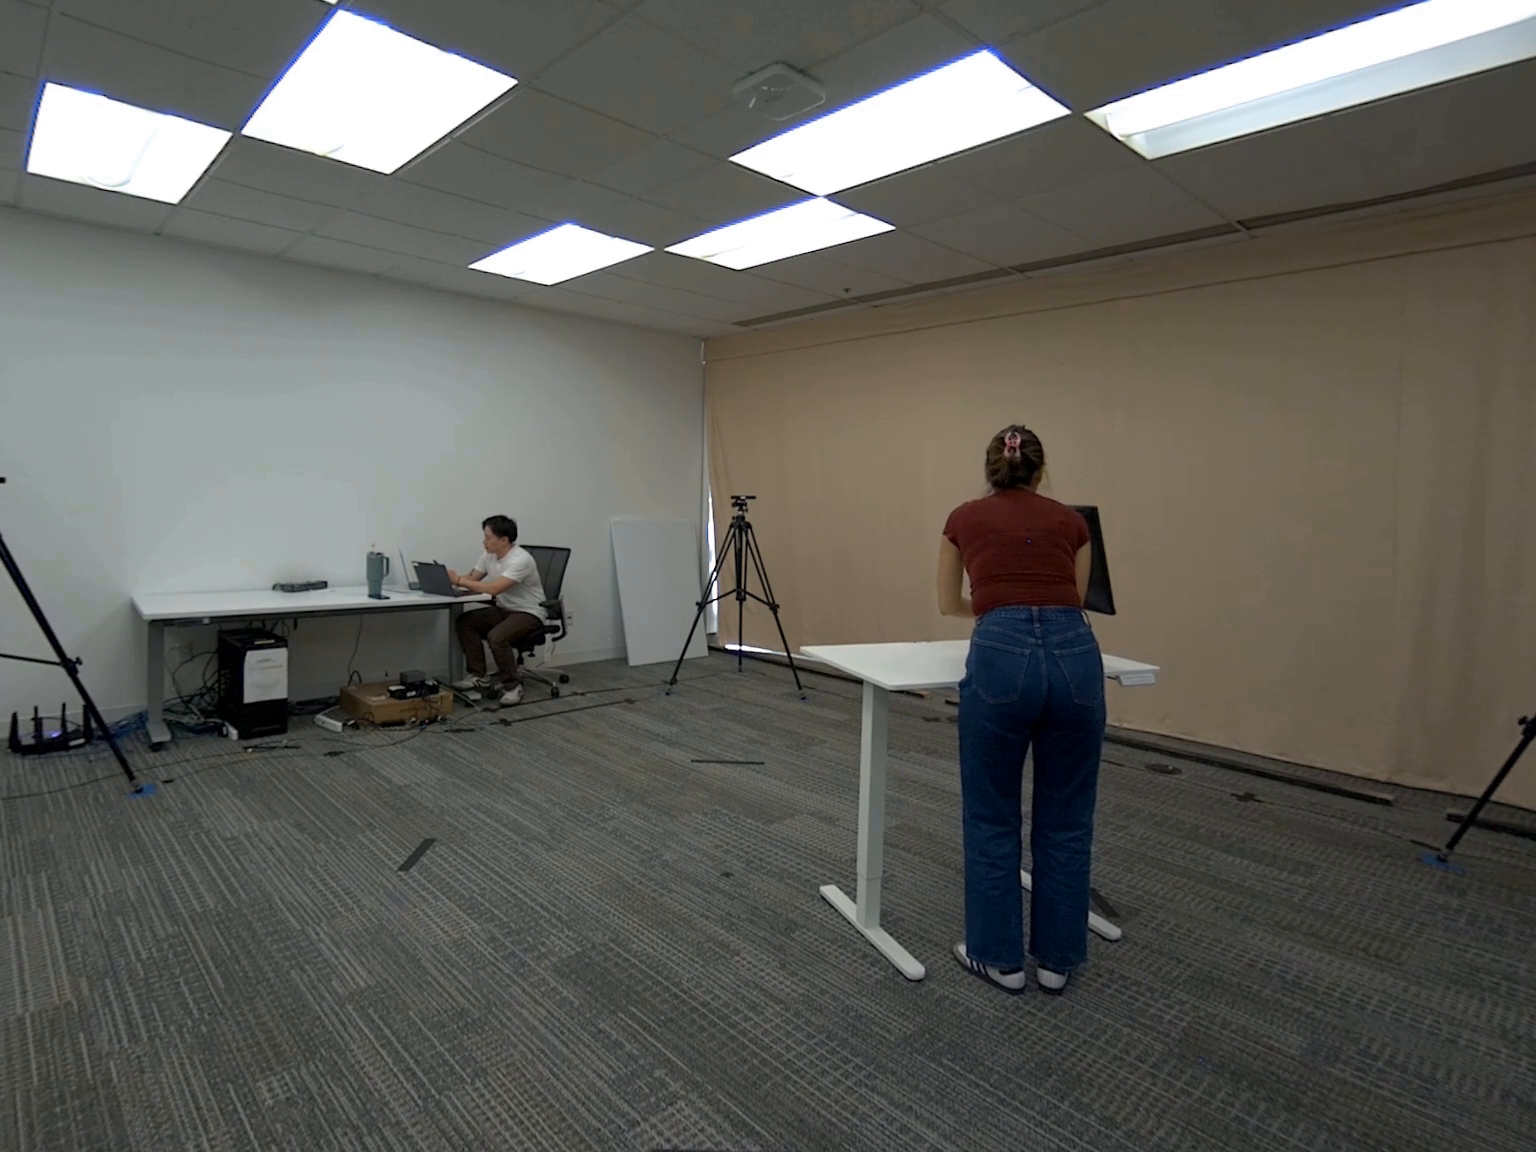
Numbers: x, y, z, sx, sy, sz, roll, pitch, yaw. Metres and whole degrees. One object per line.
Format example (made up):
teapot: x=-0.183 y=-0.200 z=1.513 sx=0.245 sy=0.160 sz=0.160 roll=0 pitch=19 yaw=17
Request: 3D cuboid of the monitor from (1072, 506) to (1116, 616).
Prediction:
monitor: x=0.920 y=0.021 z=2.851 sx=0.184 sy=0.520 sz=0.549 roll=-2 pitch=6 yaw=-22
